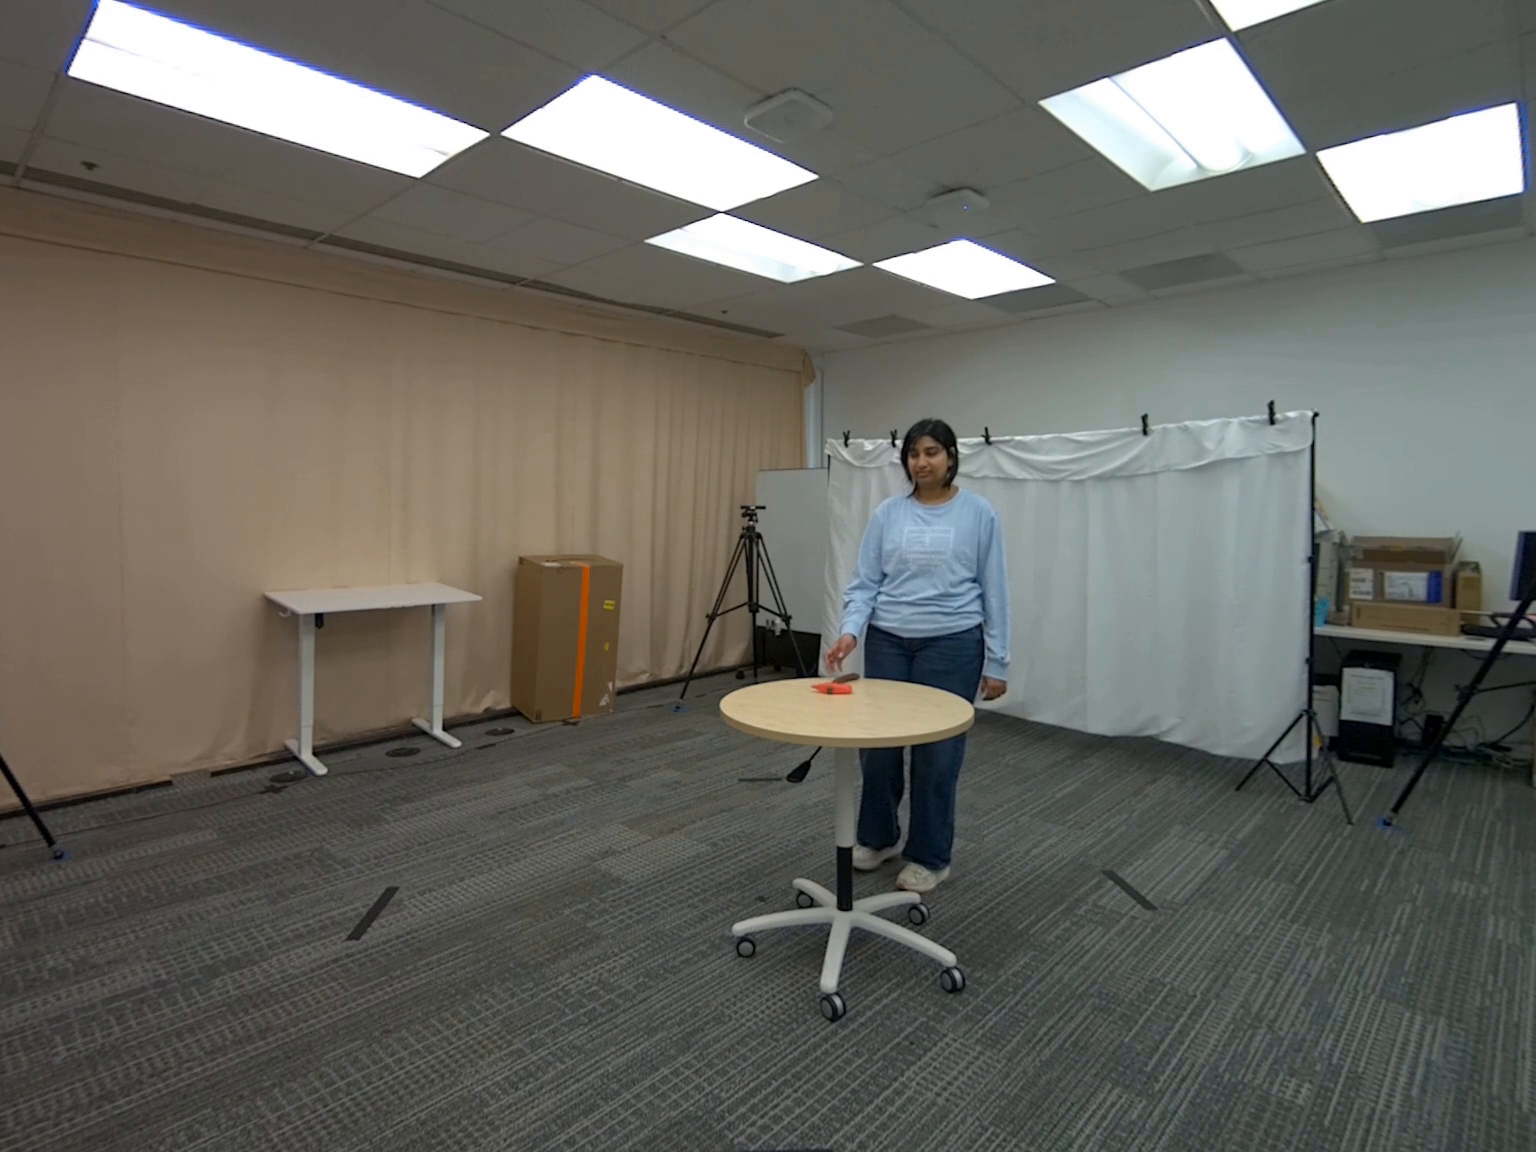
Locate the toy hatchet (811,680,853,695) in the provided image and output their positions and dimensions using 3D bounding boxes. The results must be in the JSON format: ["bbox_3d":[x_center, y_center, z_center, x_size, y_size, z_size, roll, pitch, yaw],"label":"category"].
[{"bbox_3d":[0.266,0.359,2.818,0.135,0.029,0.262,3,5,35],"label":"toy hatchet"}]
